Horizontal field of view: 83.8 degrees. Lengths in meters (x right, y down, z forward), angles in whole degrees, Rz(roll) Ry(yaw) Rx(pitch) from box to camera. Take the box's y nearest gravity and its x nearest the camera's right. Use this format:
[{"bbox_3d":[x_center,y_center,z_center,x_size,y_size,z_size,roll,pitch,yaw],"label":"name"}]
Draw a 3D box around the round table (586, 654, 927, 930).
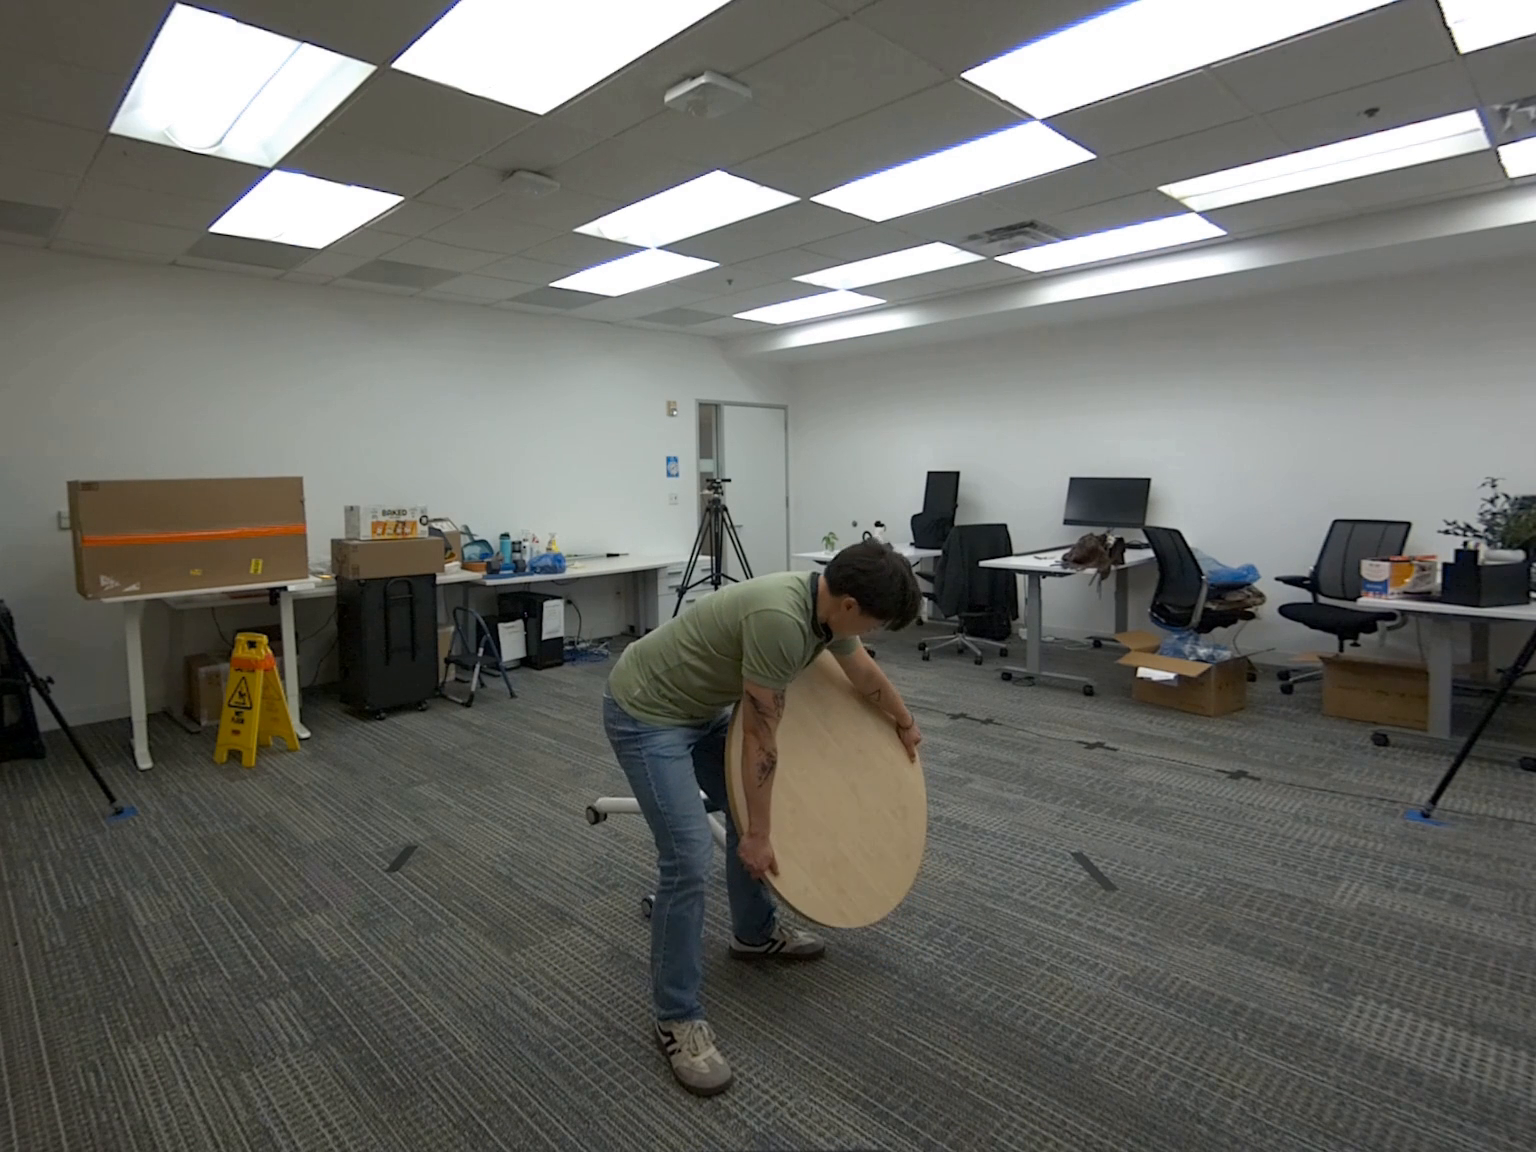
[{"bbox_3d":[-0.059,0.694,2.688,0.744,0.775,0.804,-6,-15,-44],"label":"round table"}]
